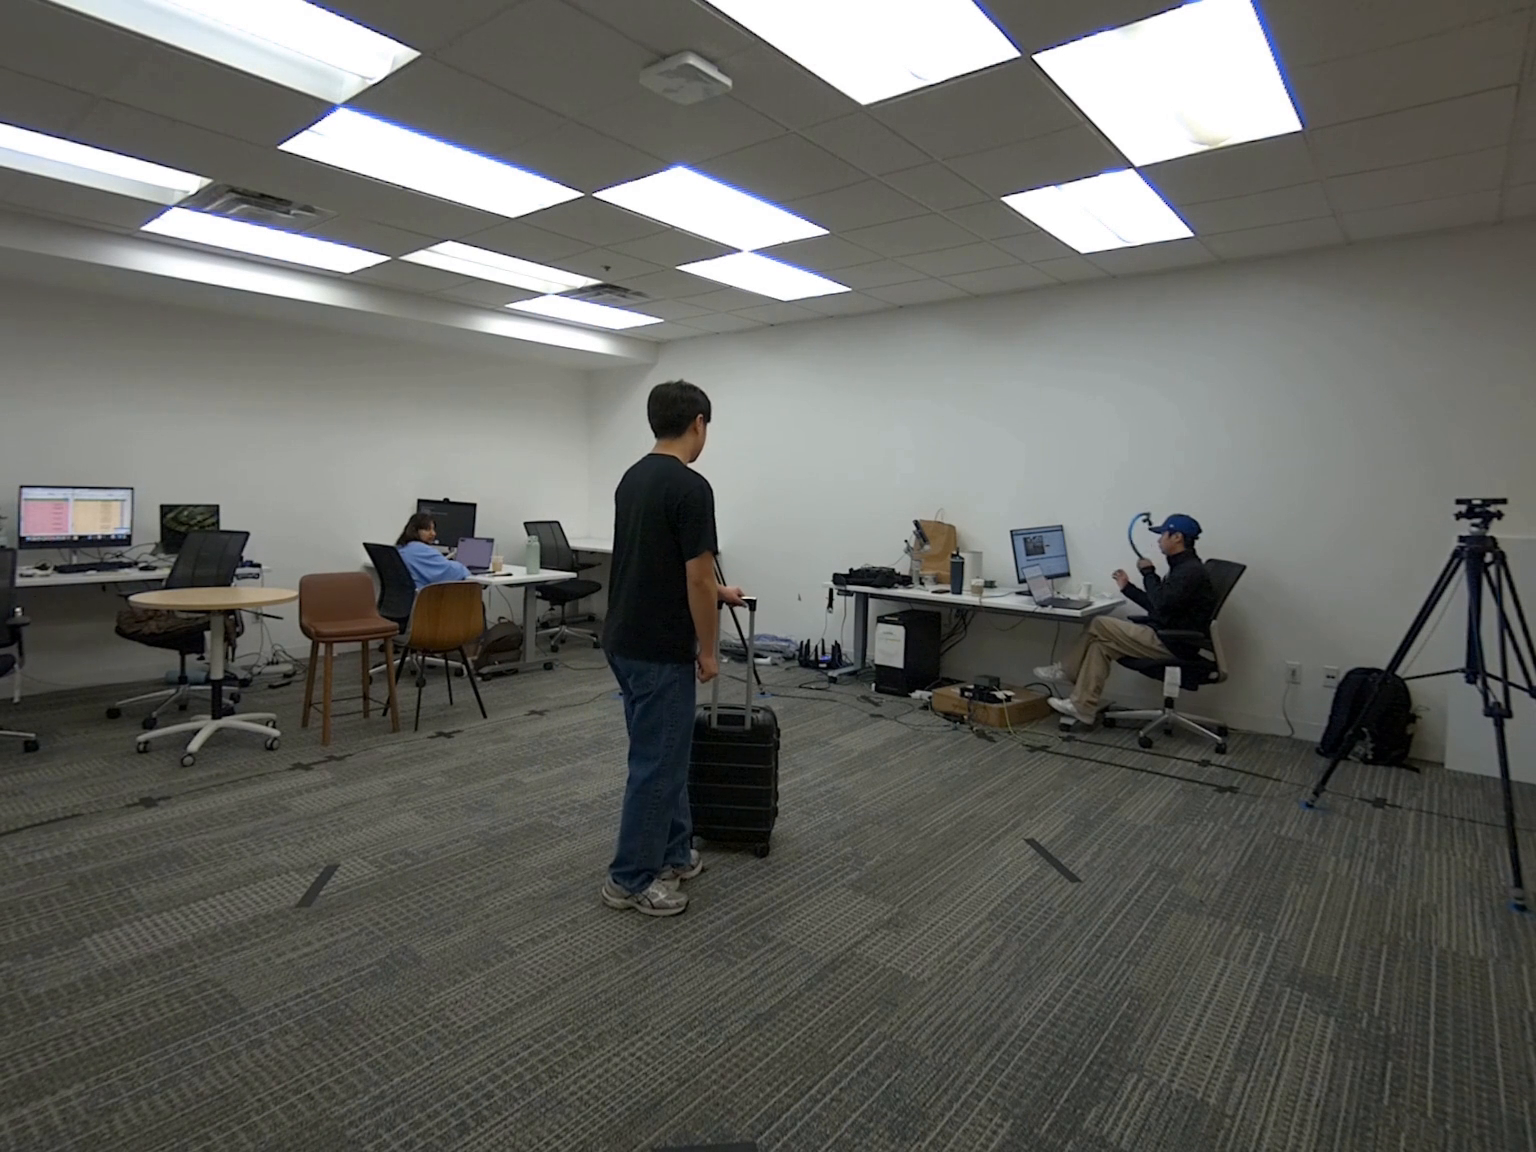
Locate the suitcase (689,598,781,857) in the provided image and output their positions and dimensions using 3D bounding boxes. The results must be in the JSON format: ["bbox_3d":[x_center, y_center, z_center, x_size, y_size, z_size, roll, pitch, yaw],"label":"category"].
[{"bbox_3d":[-0.144,0.568,3.348,0.386,0.977,0.256,2,1,4],"label":"suitcase"}]
